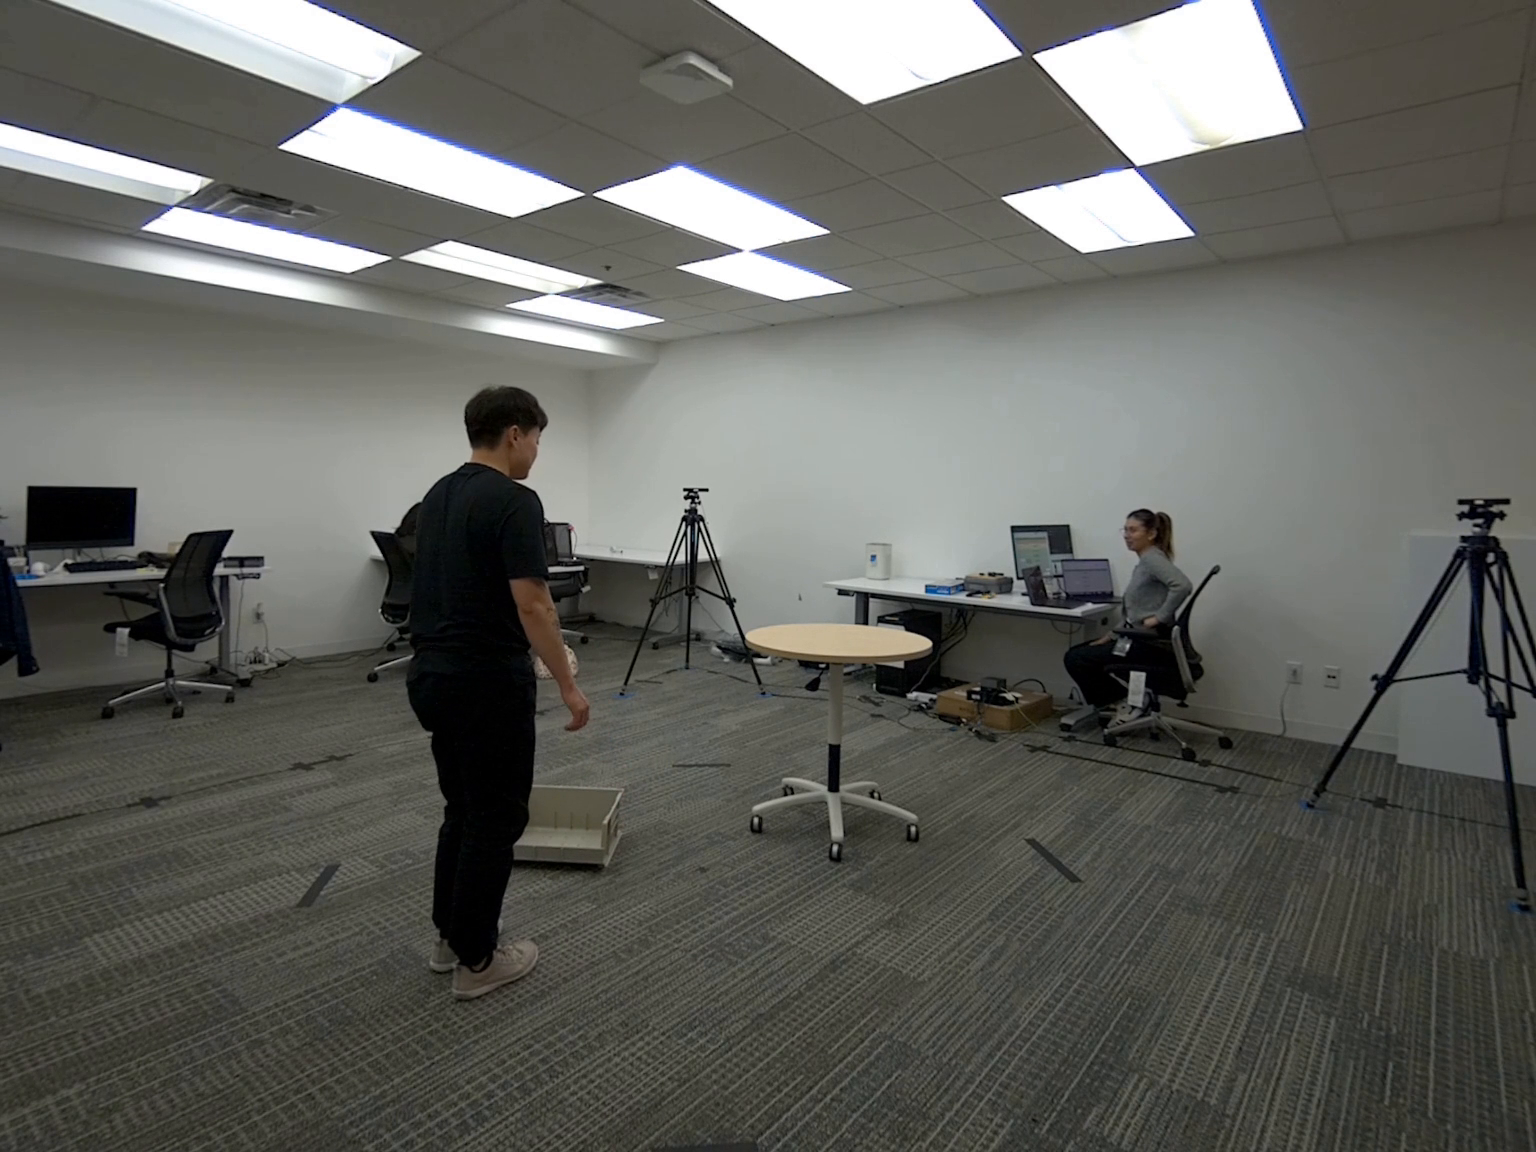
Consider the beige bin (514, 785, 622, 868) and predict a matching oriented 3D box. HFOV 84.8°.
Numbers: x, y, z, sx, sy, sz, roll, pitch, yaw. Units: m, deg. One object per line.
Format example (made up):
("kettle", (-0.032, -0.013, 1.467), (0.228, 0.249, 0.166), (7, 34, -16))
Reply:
("beige bin", (-0.803, 0.960, 3.255), (0.424, 0.188, 0.377), (1, 5, 2))
